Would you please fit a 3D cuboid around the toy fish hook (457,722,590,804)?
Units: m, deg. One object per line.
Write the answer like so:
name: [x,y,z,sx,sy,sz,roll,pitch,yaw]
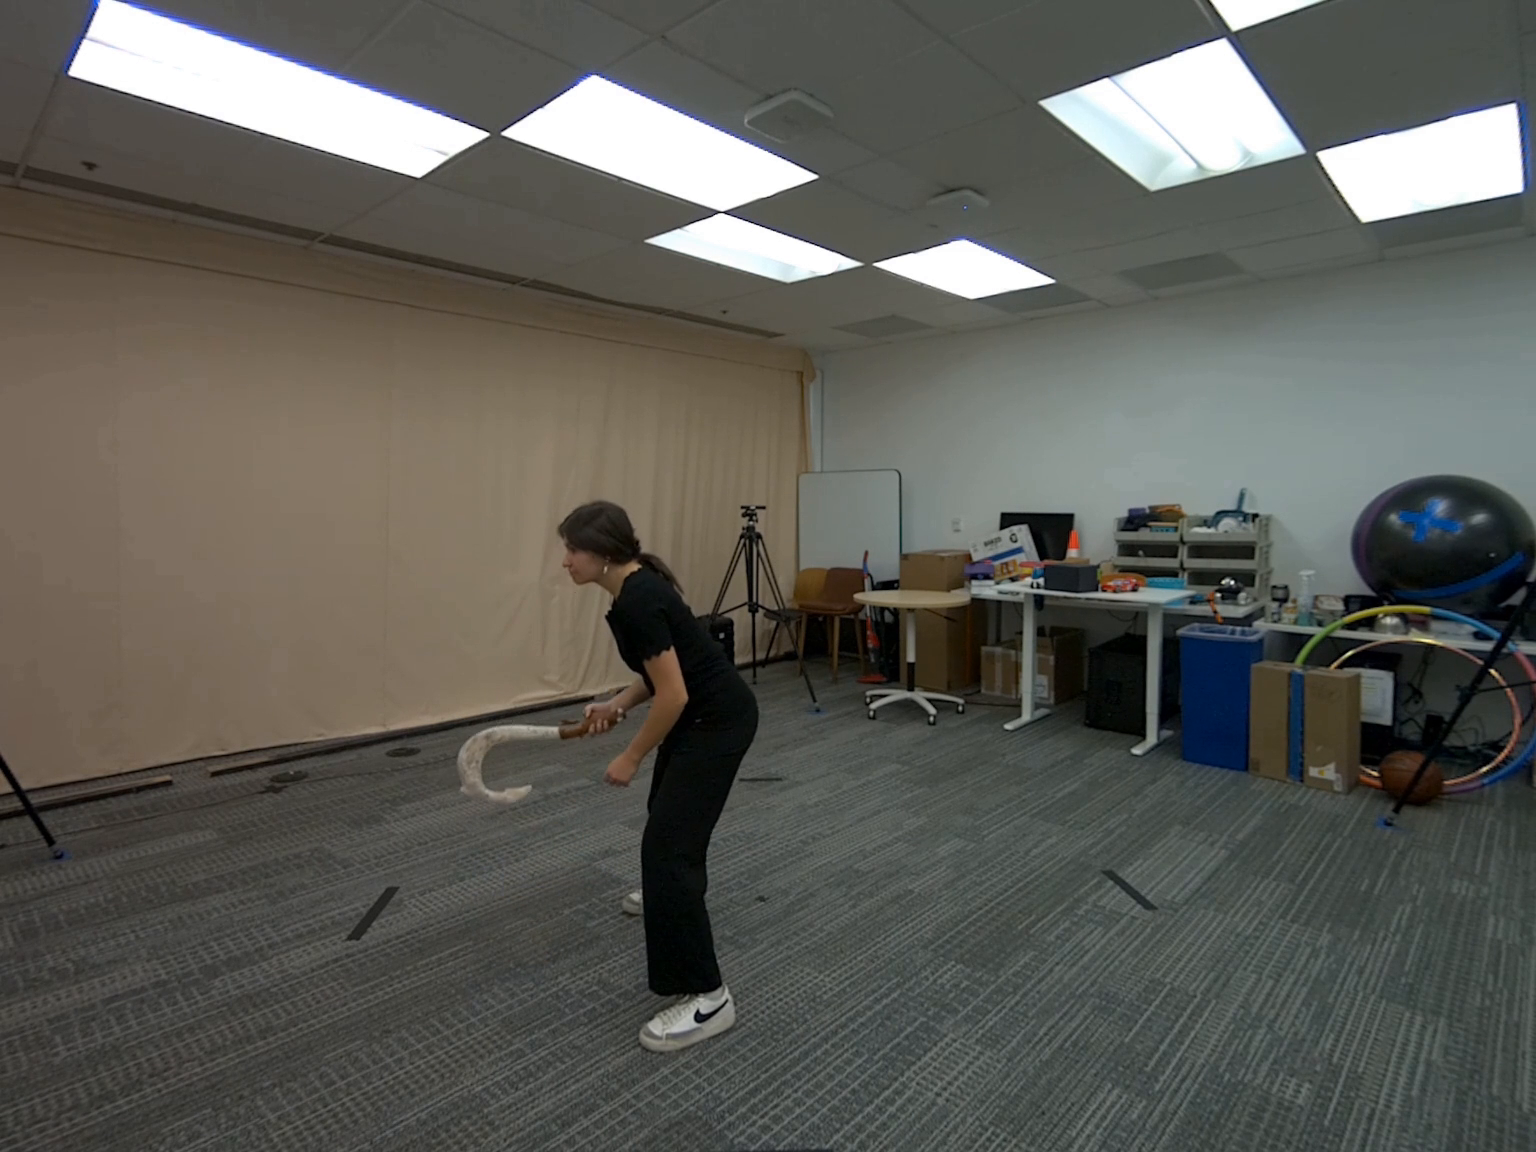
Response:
toy fish hook: [-0.650,0.527,2.464,0.504,0.227,0.048,-15,-15,-6]
